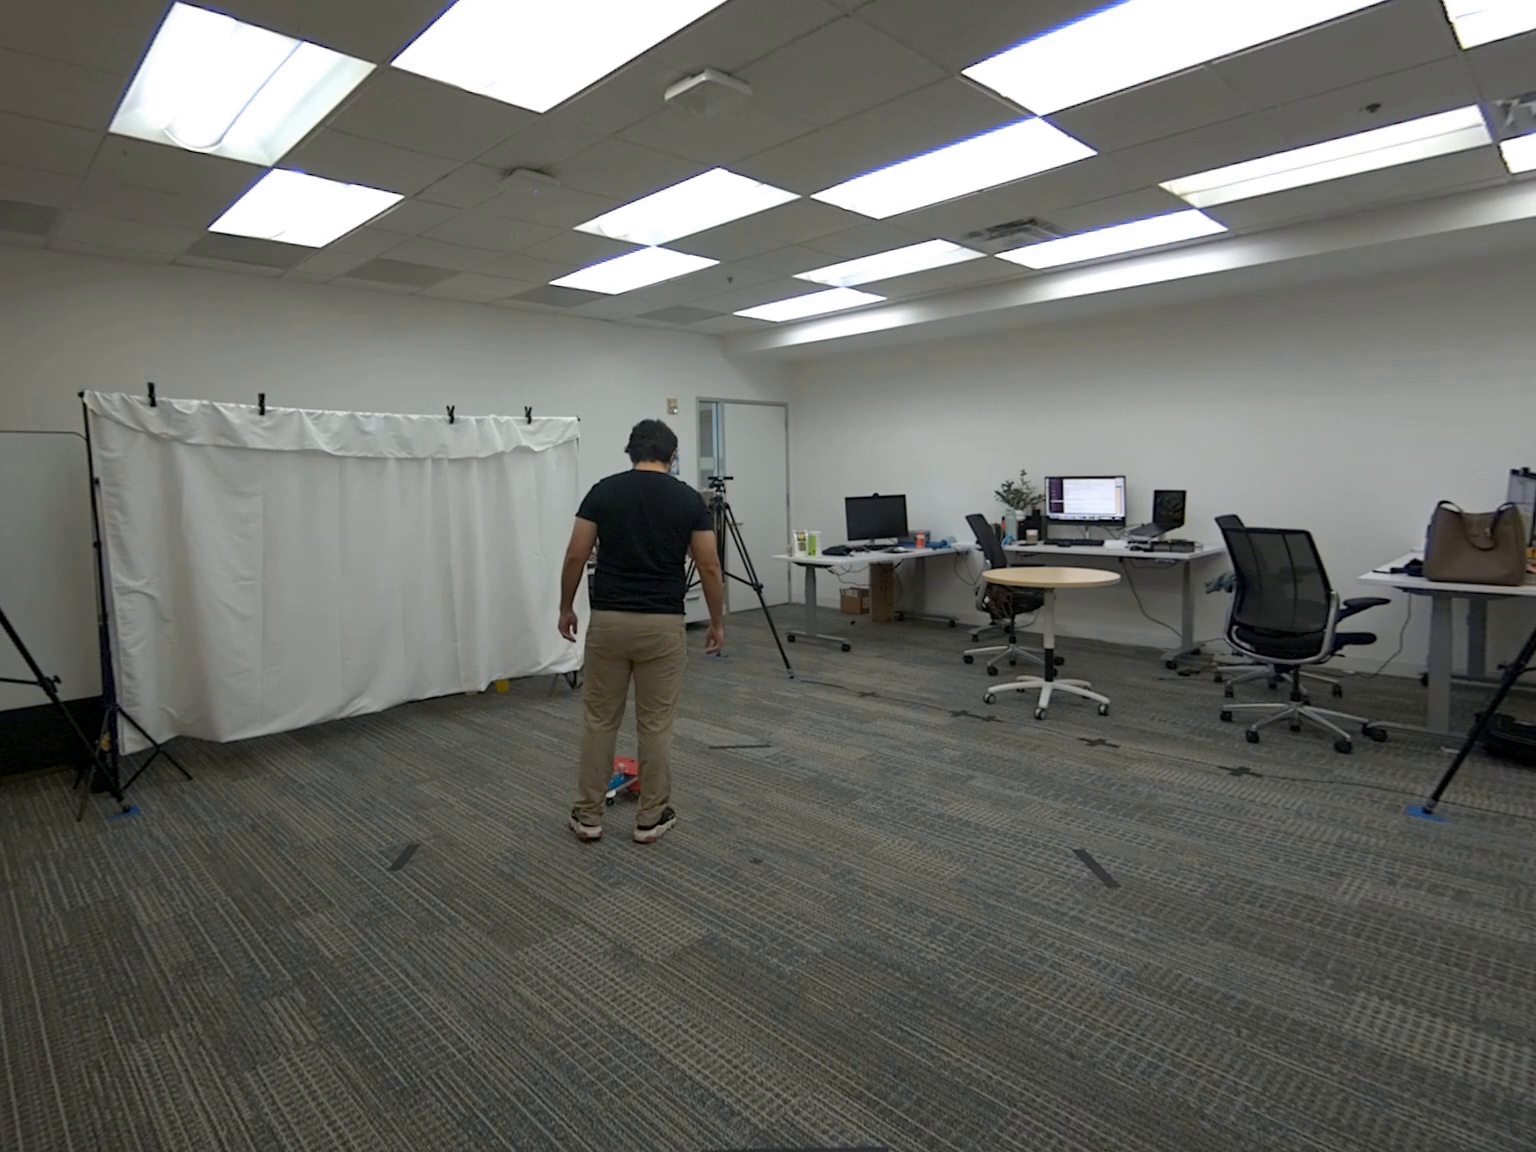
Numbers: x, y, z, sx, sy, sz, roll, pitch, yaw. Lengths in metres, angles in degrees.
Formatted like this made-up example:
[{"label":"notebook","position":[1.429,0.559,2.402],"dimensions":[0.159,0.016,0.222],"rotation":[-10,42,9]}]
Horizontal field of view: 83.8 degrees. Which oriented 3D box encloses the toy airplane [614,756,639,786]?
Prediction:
[{"label":"toy airplane","position":[-0.616,0.904,3.736],"dimensions":[0.254,0.156,0.257],"rotation":[-1,4,12]}]
